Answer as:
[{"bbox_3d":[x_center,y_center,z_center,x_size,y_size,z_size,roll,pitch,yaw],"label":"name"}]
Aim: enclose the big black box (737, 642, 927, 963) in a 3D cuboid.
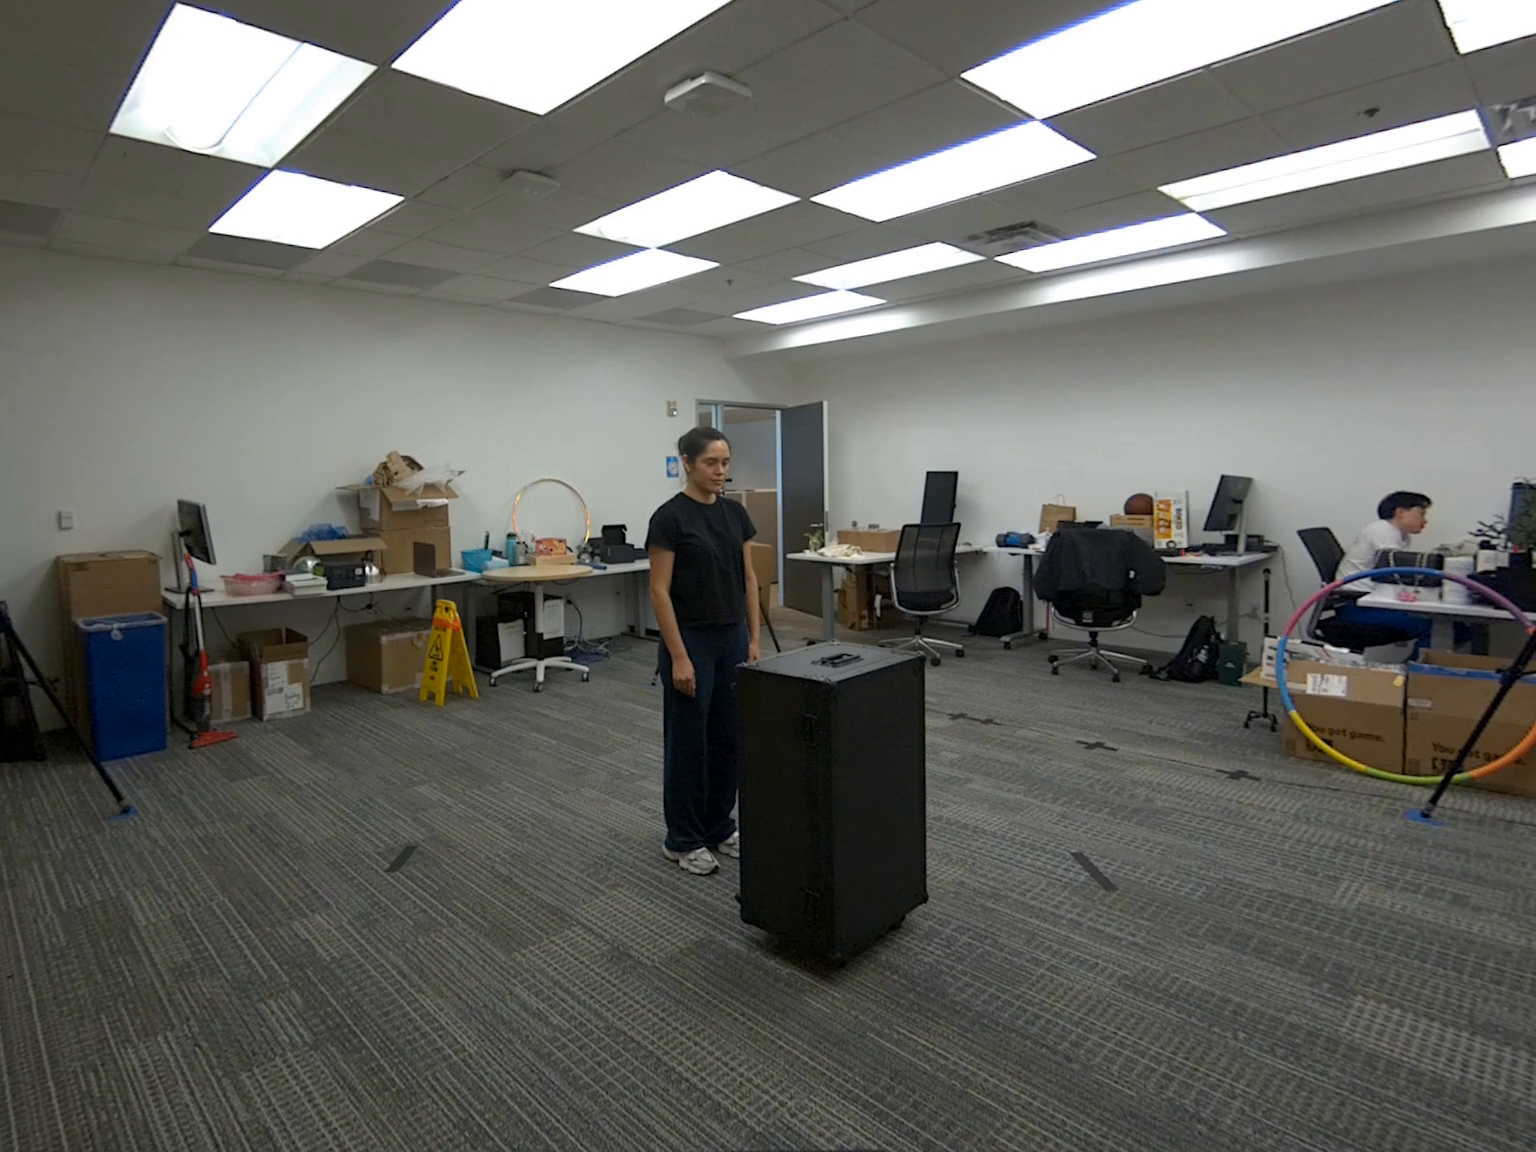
[{"bbox_3d":[0.192,0.671,2.612,0.408,0.859,0.508,2,5,43],"label":"big black box"}]
